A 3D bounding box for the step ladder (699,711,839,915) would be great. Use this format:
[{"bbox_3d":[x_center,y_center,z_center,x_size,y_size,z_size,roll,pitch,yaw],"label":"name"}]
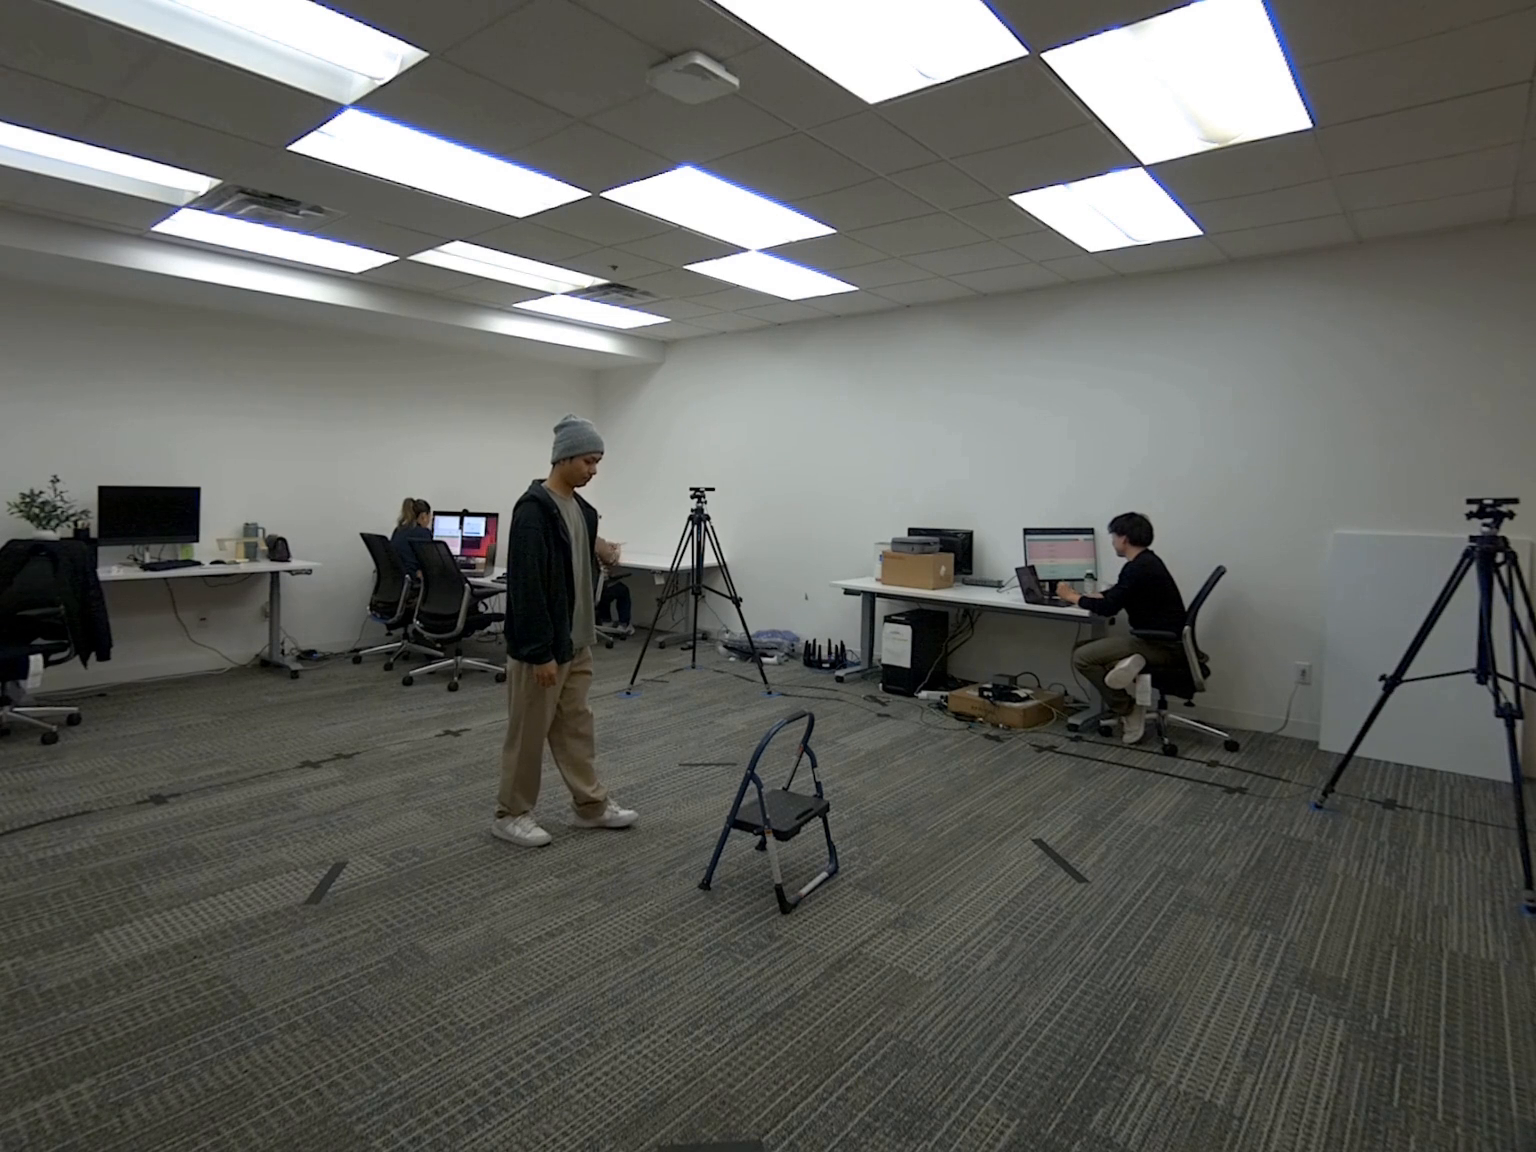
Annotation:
[{"bbox_3d":[0.010,0.774,3.022,0.360,0.604,0.419,3,4,30],"label":"step ladder"}]
